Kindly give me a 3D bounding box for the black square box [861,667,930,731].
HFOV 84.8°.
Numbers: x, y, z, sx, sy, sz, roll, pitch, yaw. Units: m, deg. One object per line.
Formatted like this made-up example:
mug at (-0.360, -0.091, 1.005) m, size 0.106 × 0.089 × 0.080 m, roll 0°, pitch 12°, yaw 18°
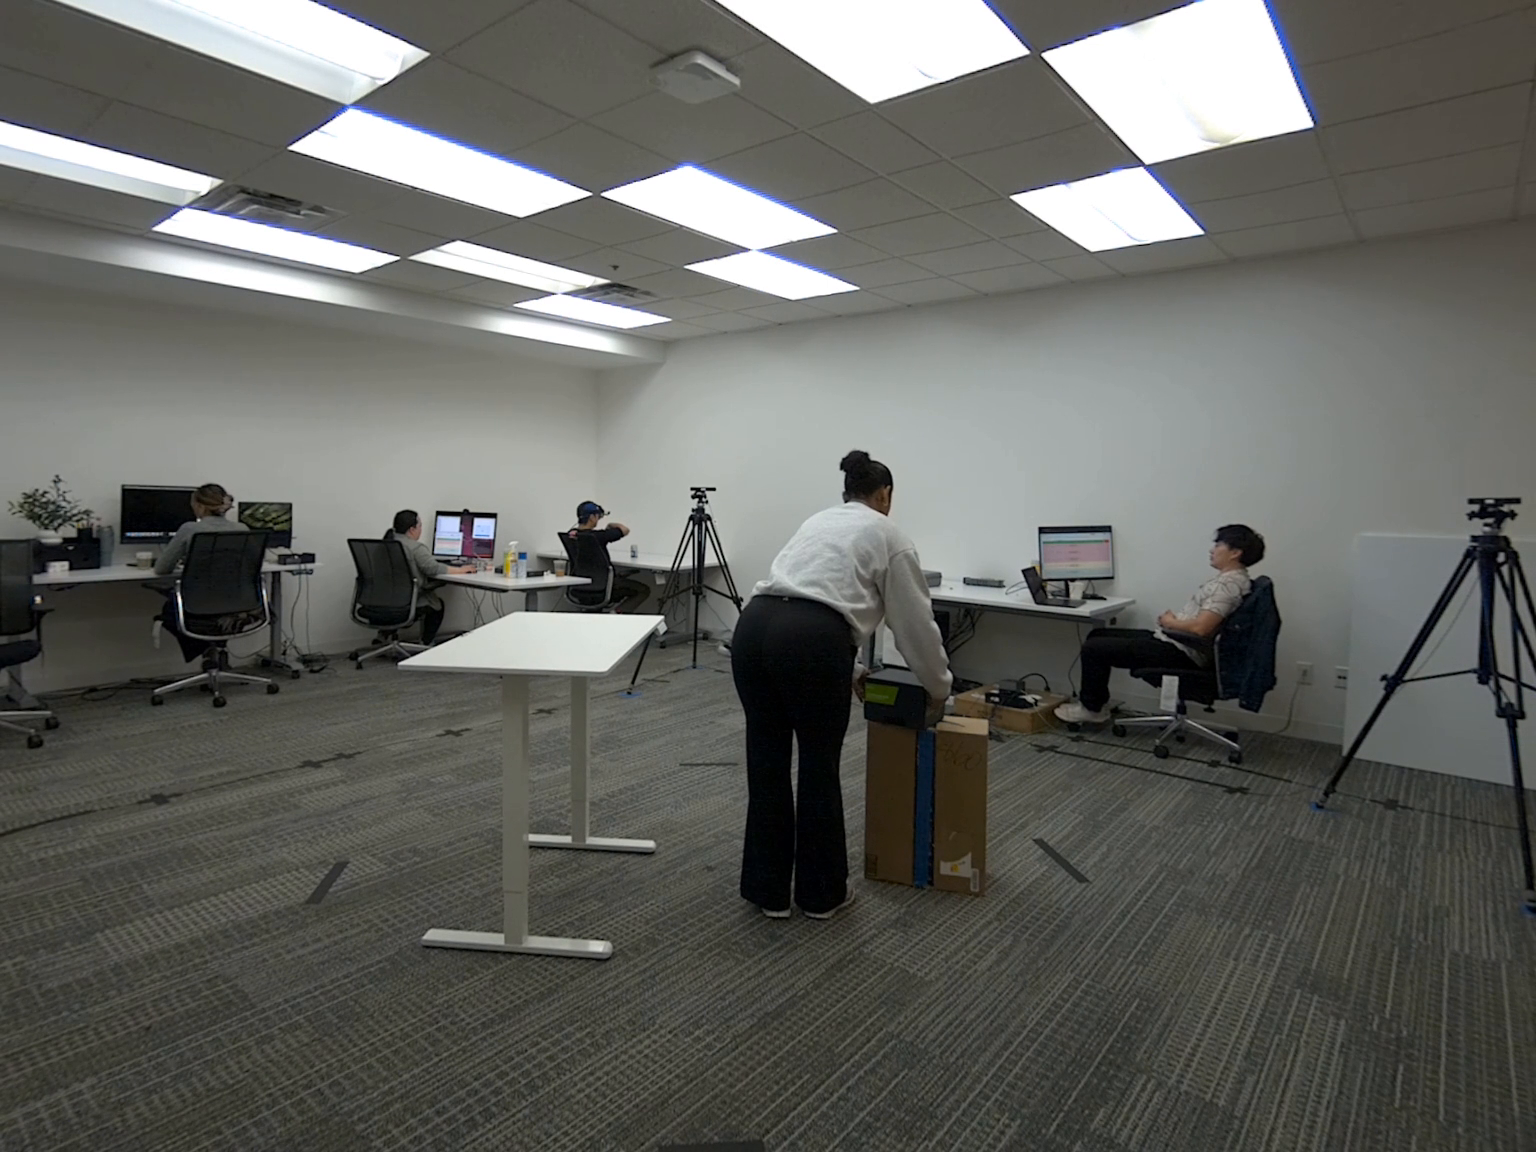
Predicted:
black square box at (0.486, 0.435, 3.091) m, size 0.235 × 0.155 × 0.211 m, roll 5°, pitch 6°, yaw 30°
